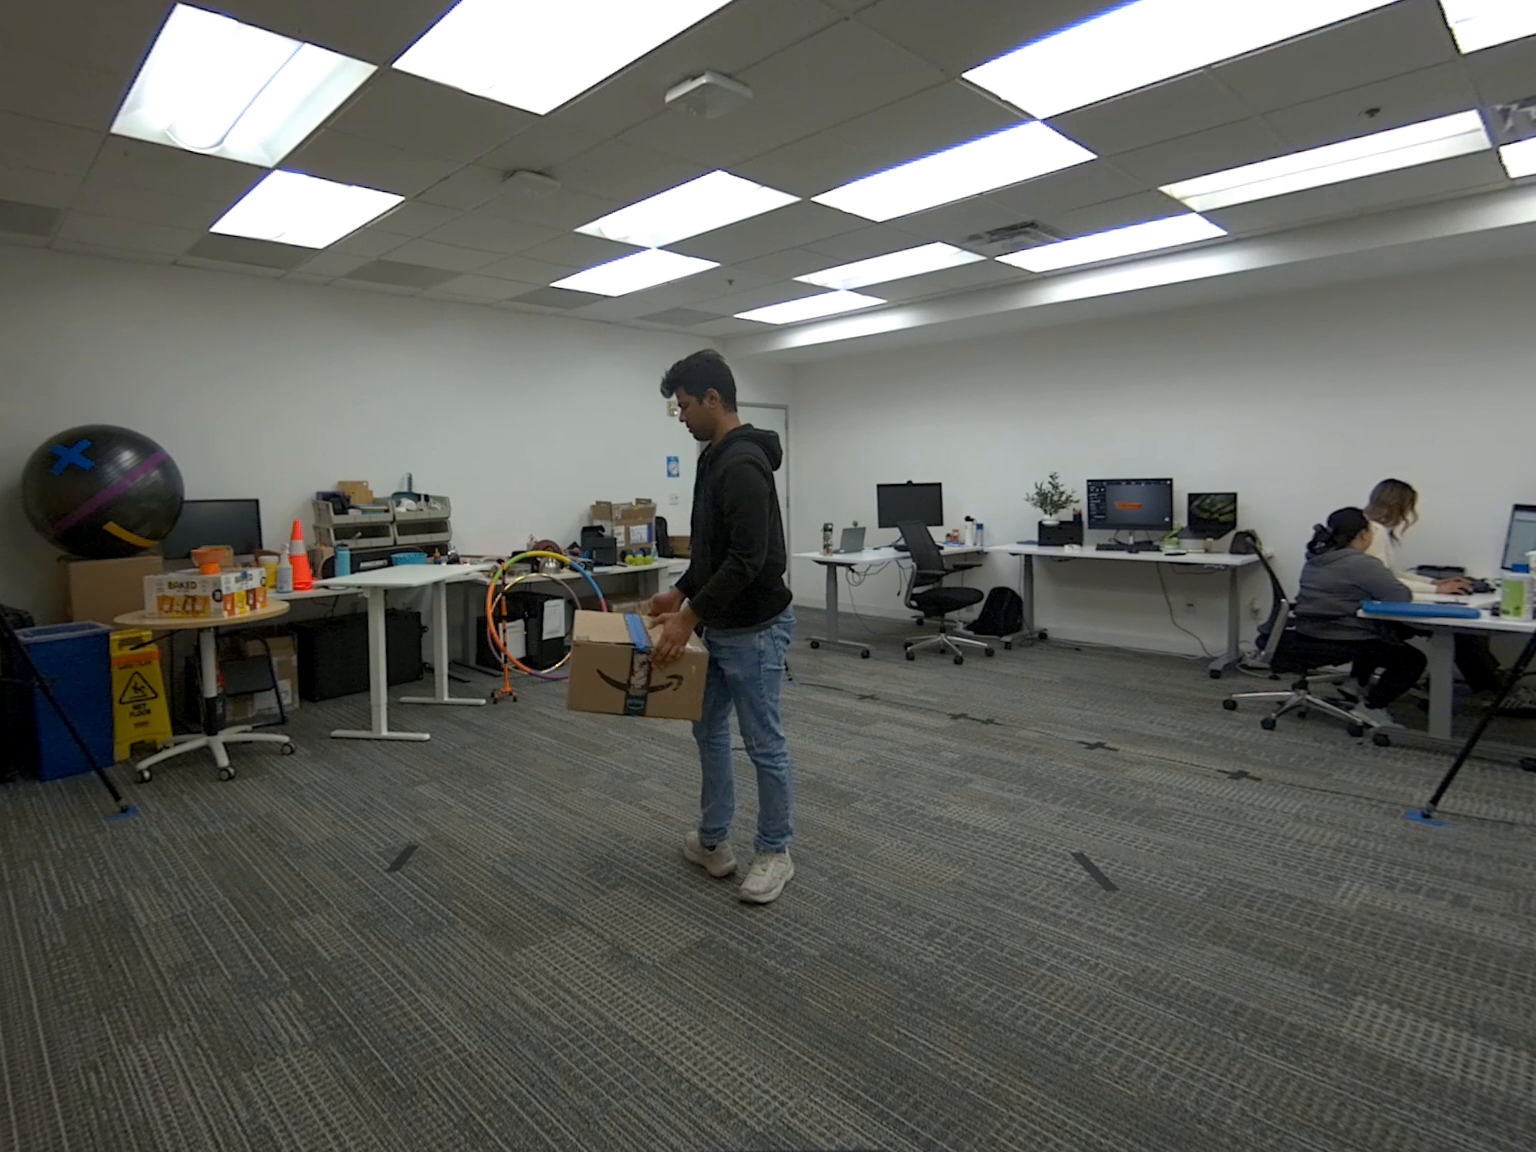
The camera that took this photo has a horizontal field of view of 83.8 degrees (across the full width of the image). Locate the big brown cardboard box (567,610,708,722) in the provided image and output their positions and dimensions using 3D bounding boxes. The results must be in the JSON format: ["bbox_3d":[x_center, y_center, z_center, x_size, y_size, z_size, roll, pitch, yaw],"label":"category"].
[{"bbox_3d":[-0.450,0.284,2.877,0.413,0.232,0.597,6,4,-12],"label":"big brown cardboard box"}]
